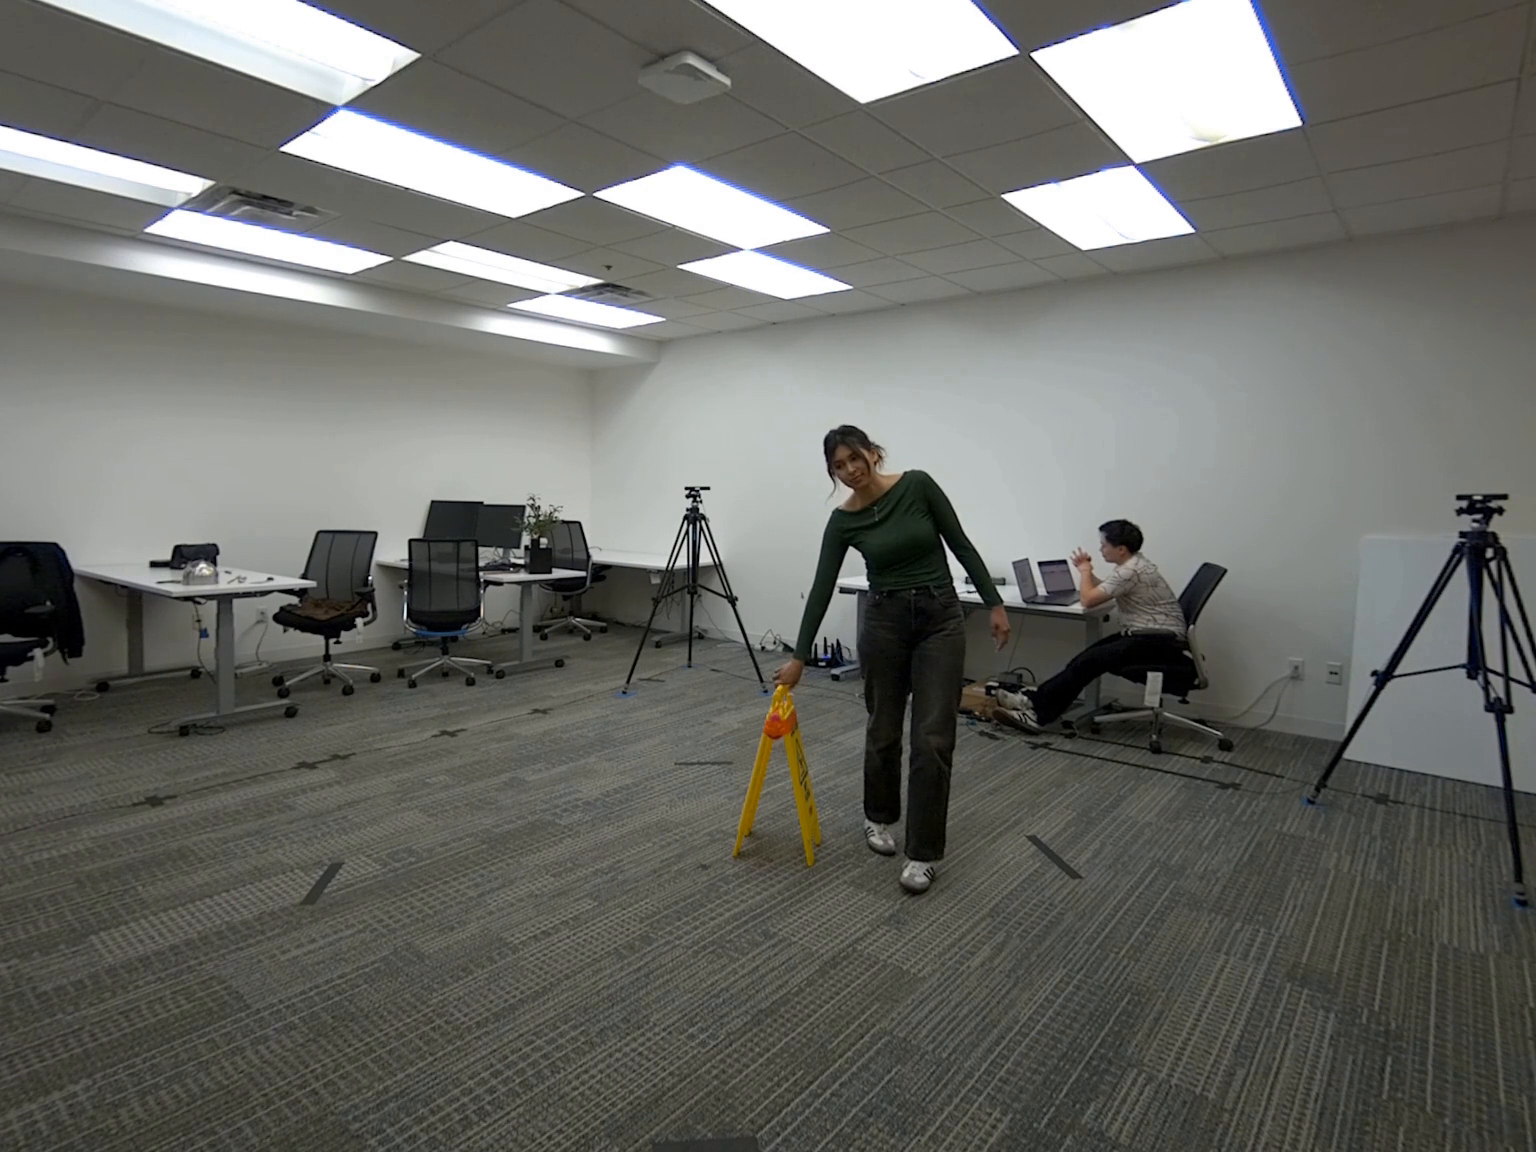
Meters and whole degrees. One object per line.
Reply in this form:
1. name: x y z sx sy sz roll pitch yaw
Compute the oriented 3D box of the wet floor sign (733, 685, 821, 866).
1. wet floor sign: 0.033 0.732 3.287 0.294 0.645 0.278 0 1 14
